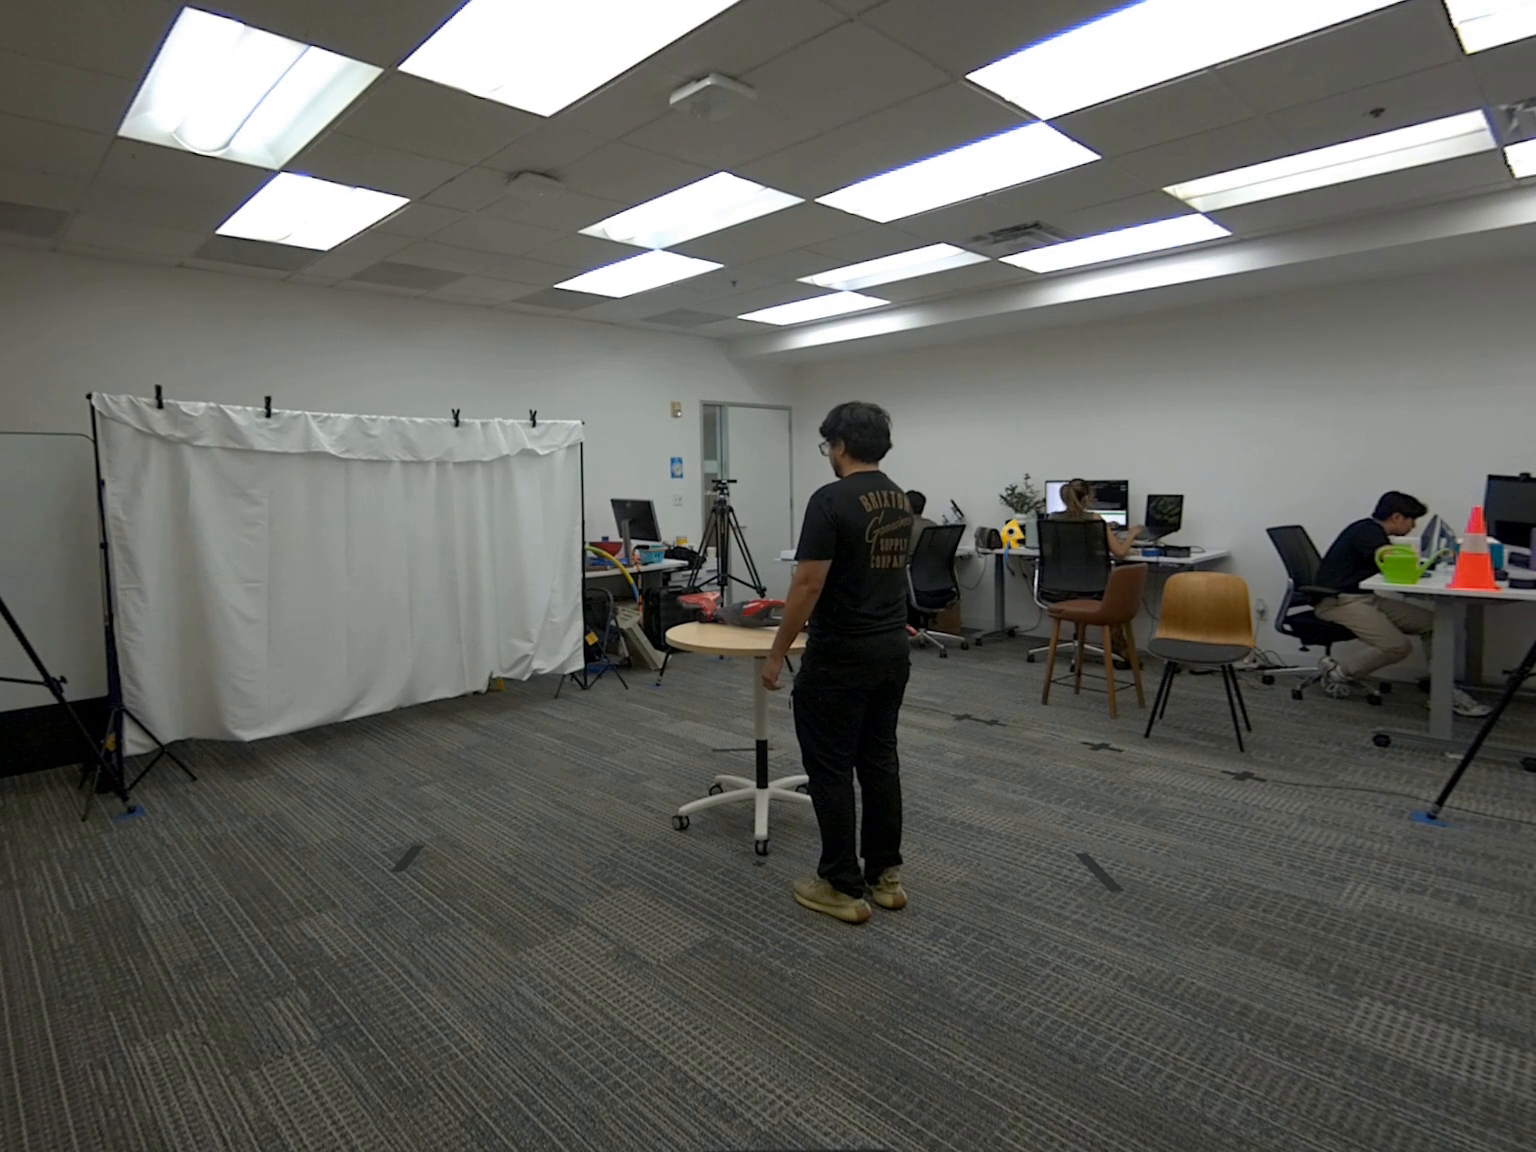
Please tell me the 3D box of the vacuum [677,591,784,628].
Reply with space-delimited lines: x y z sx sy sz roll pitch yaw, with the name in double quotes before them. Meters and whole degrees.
"vacuum" 0.109 0.173 3.403 1.081 0.143 0.247 3 10 44
